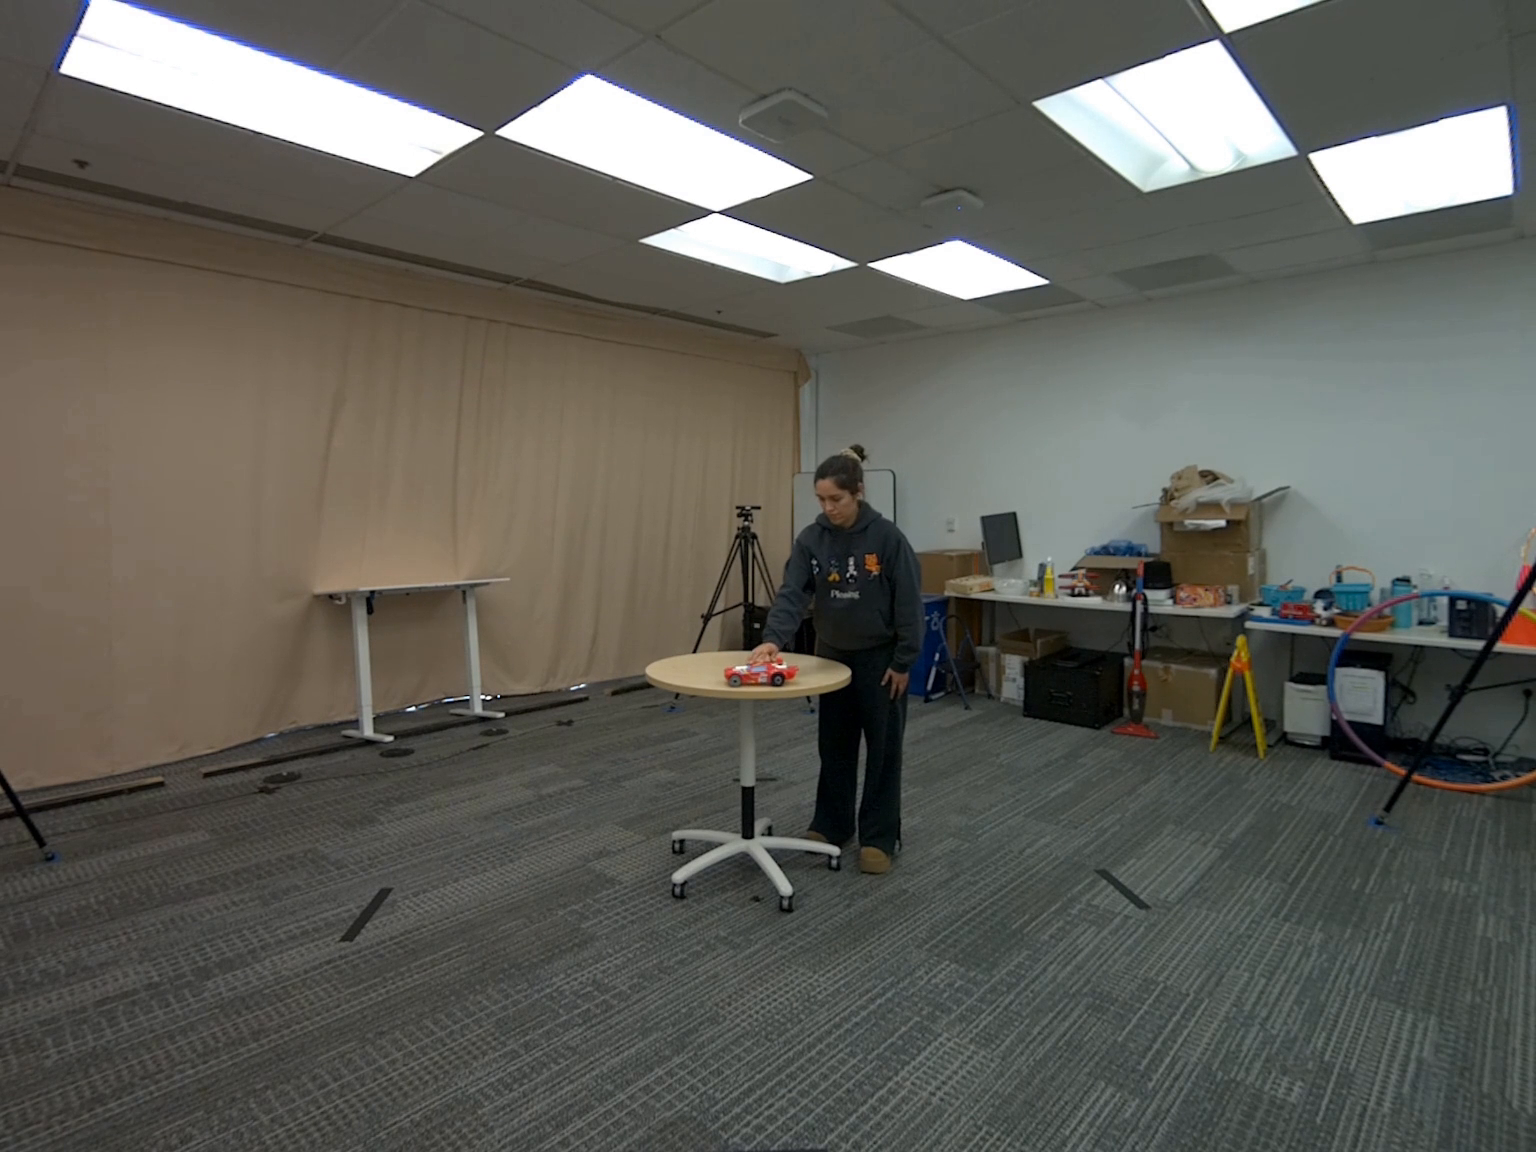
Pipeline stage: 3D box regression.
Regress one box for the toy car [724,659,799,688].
[{"bbox_3d":[-0.002,0.336,2.883,0.254,0.083,0.131,-12,4,-1],"label":"toy car"}]
